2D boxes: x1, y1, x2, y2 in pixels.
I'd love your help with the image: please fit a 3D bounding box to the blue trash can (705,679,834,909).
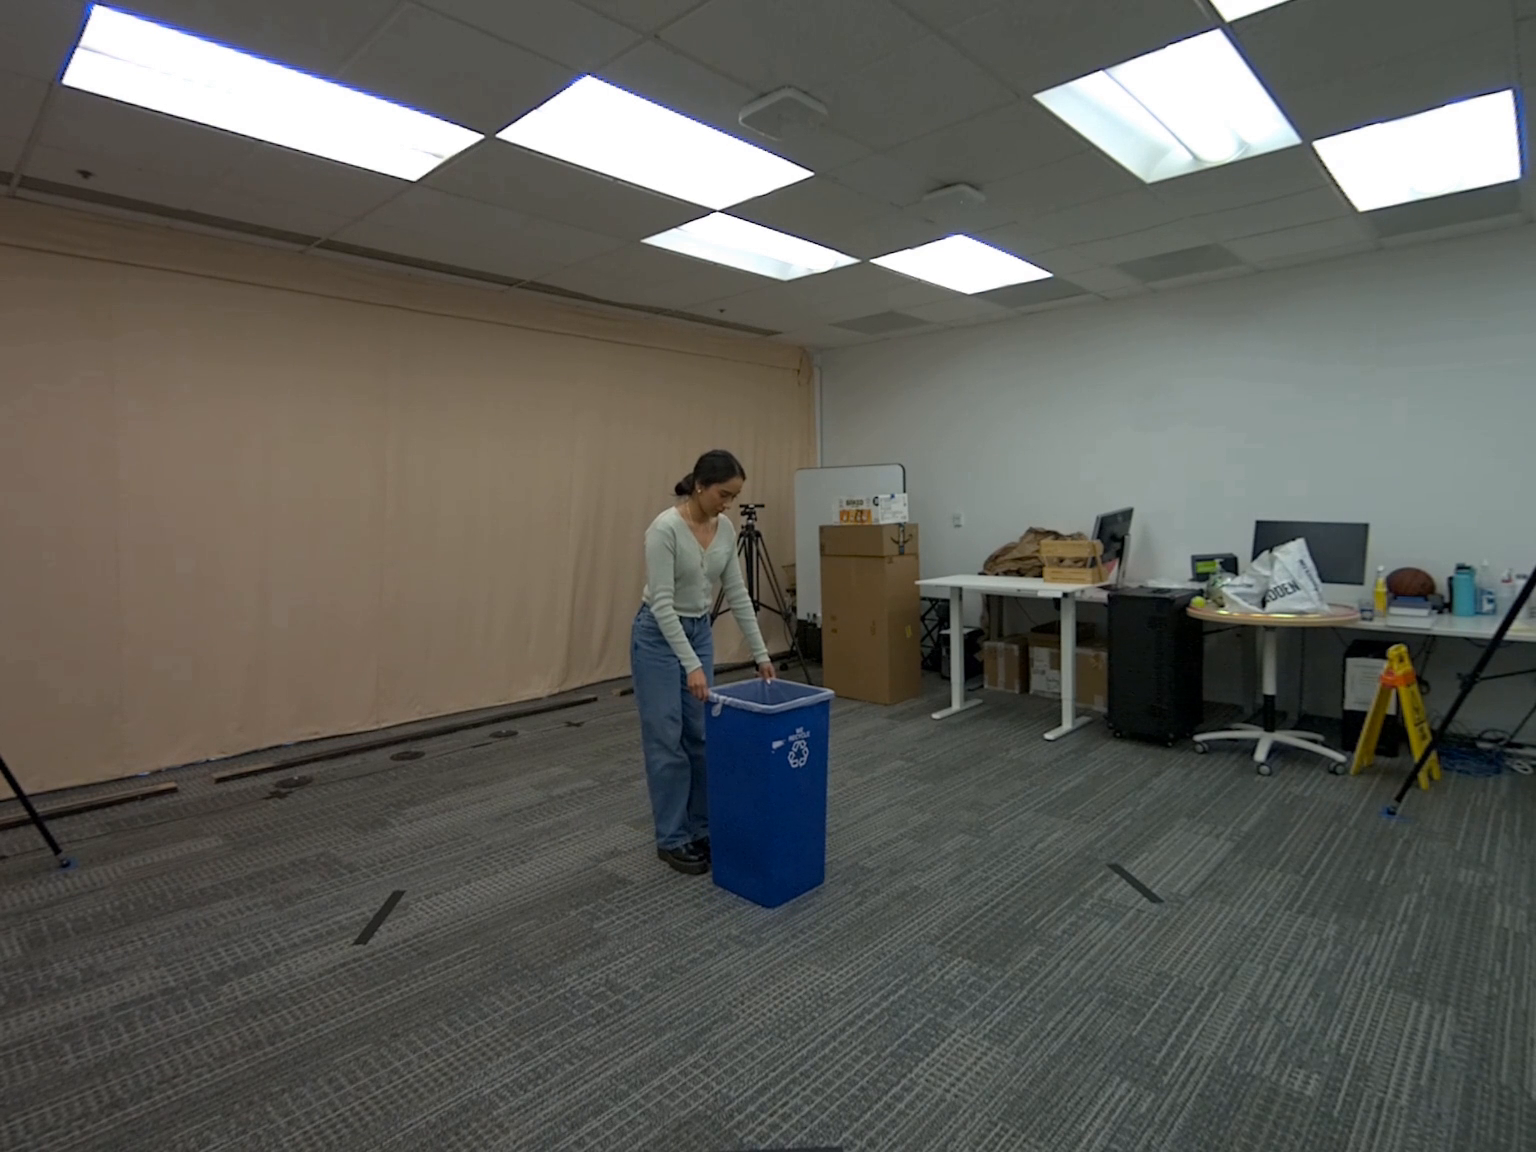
[{"bbox_3d":[0.003,0.772,3.084,0.363,0.712,0.391,-5,5,-45],"label":"blue trash can"}]
